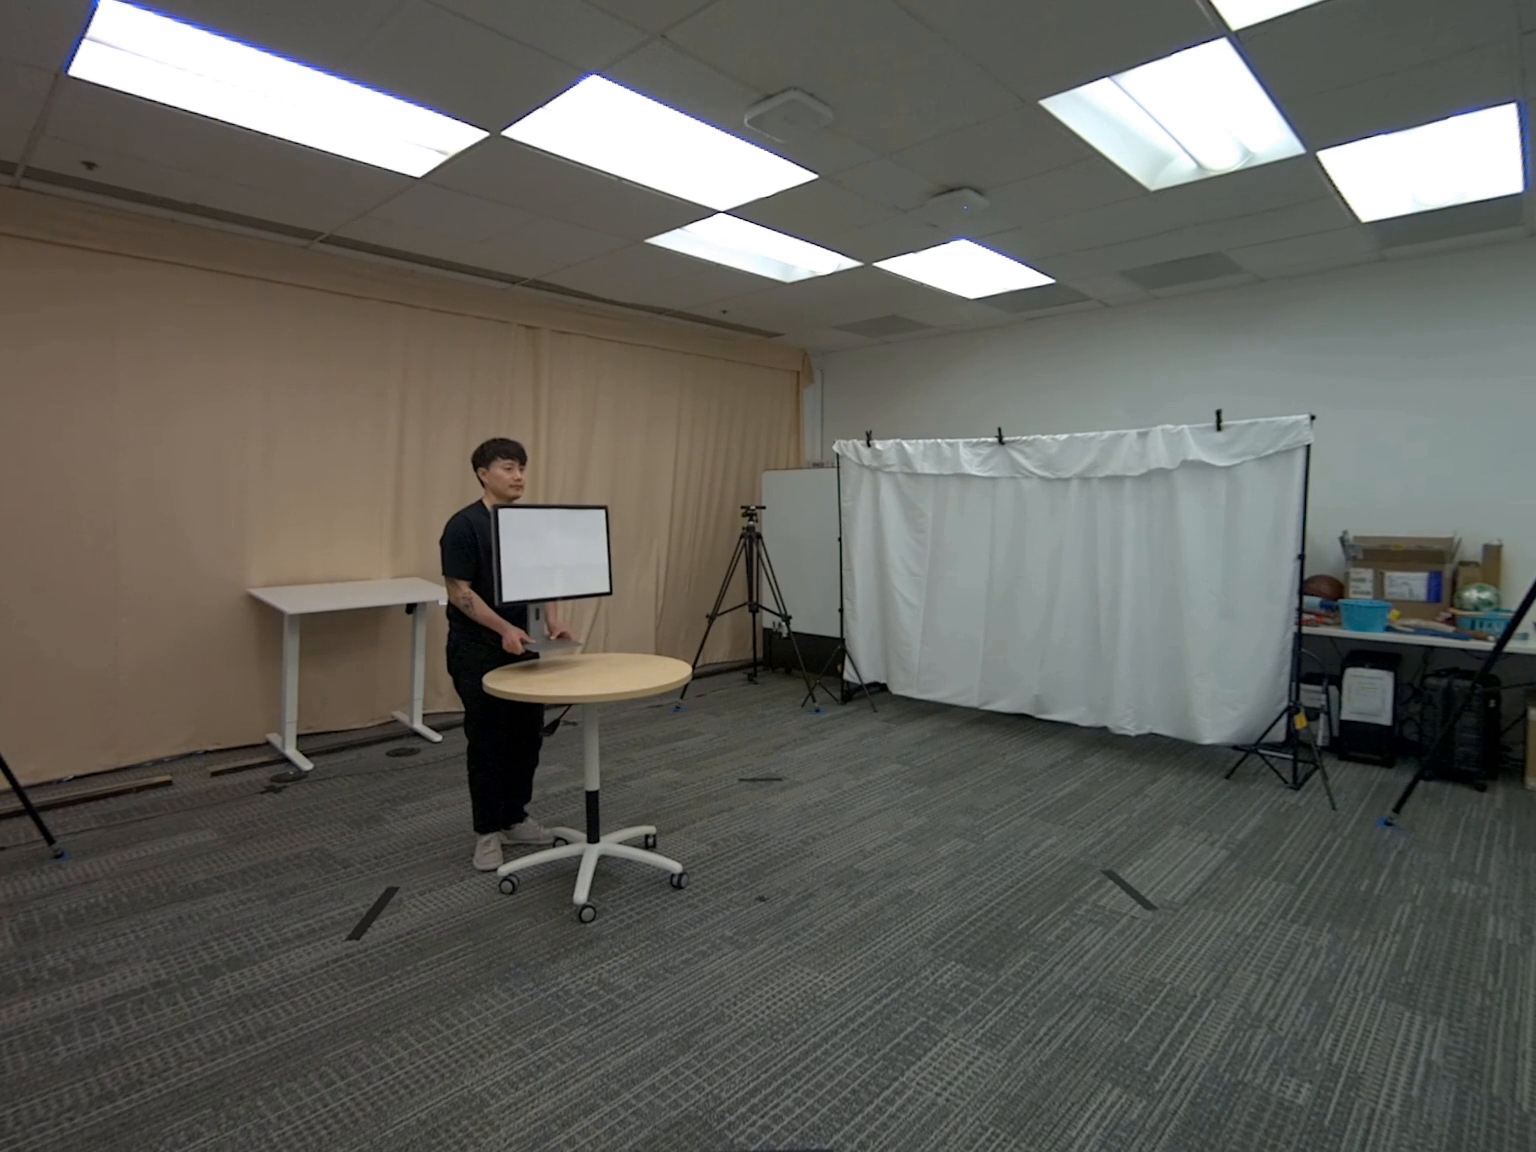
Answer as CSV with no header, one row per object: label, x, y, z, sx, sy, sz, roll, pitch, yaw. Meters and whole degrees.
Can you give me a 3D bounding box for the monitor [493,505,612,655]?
monitor,-0.835,-0.005,3.196,0.193,0.520,0.523,13,10,34
